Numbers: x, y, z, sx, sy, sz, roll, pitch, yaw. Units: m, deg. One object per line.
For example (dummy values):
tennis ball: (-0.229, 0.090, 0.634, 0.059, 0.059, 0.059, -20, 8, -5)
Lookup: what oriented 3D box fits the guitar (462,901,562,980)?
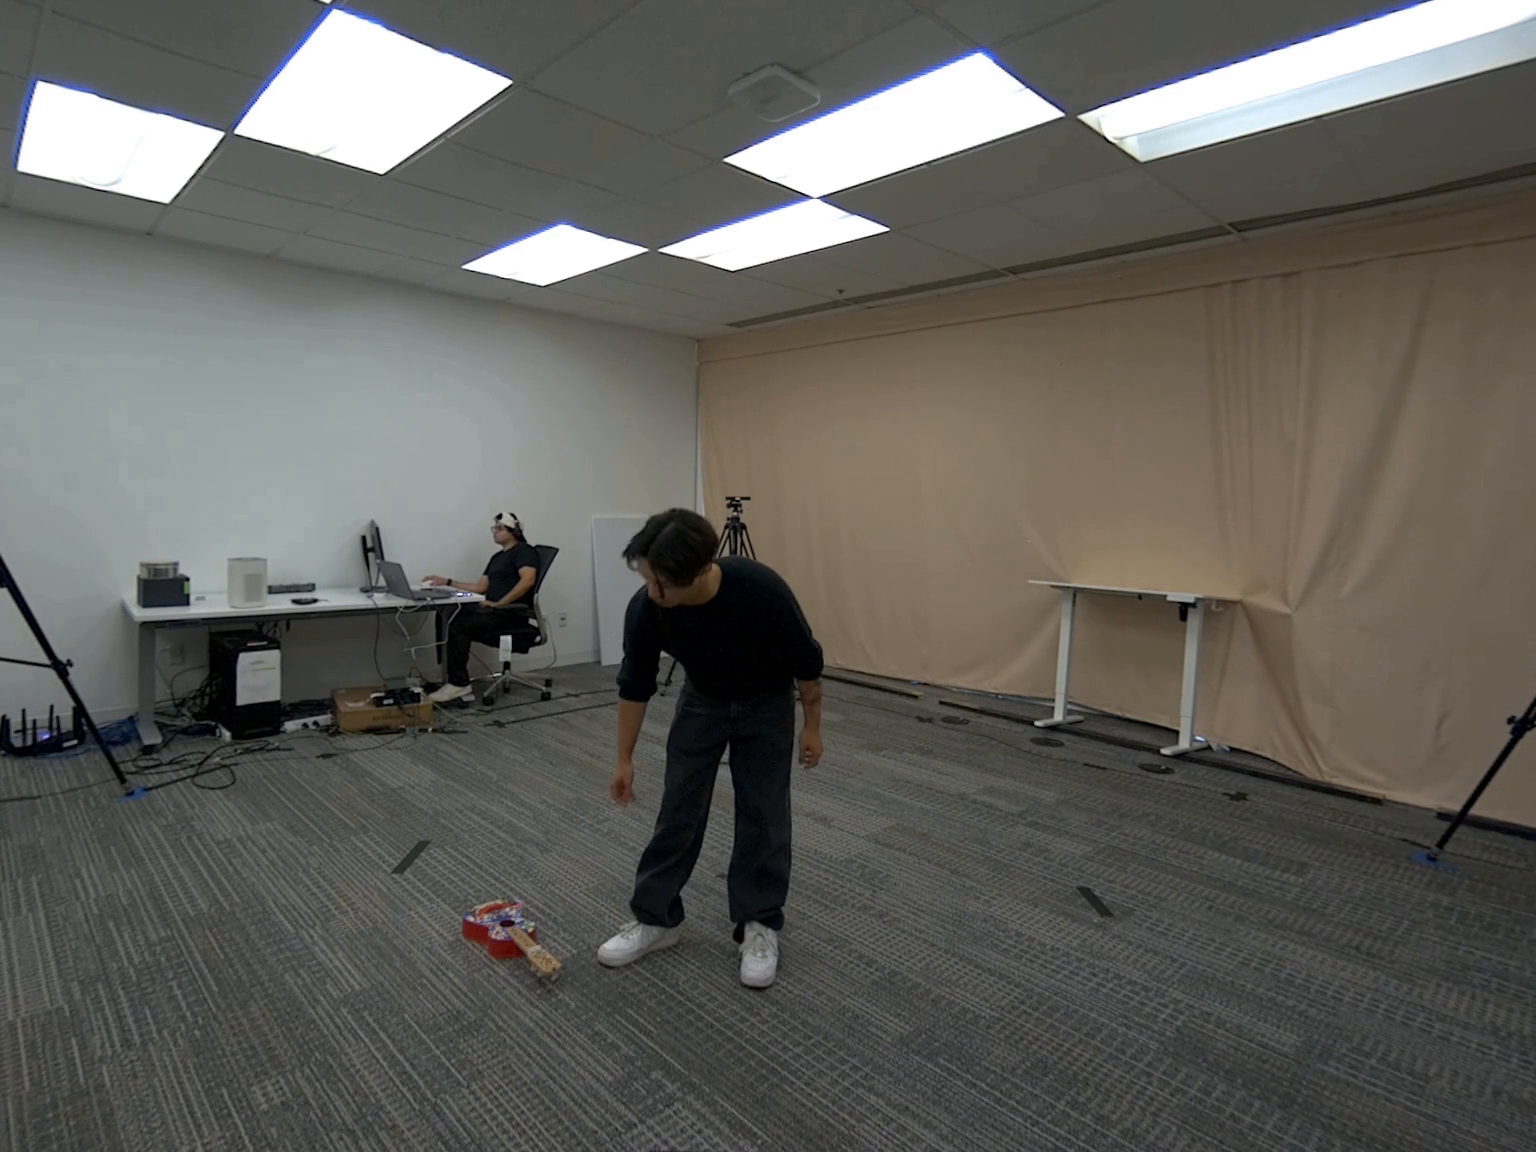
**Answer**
guitar: (-0.789, 1.111, 2.535, 0.189, 0.070, 0.509, -2, 6, -30)
